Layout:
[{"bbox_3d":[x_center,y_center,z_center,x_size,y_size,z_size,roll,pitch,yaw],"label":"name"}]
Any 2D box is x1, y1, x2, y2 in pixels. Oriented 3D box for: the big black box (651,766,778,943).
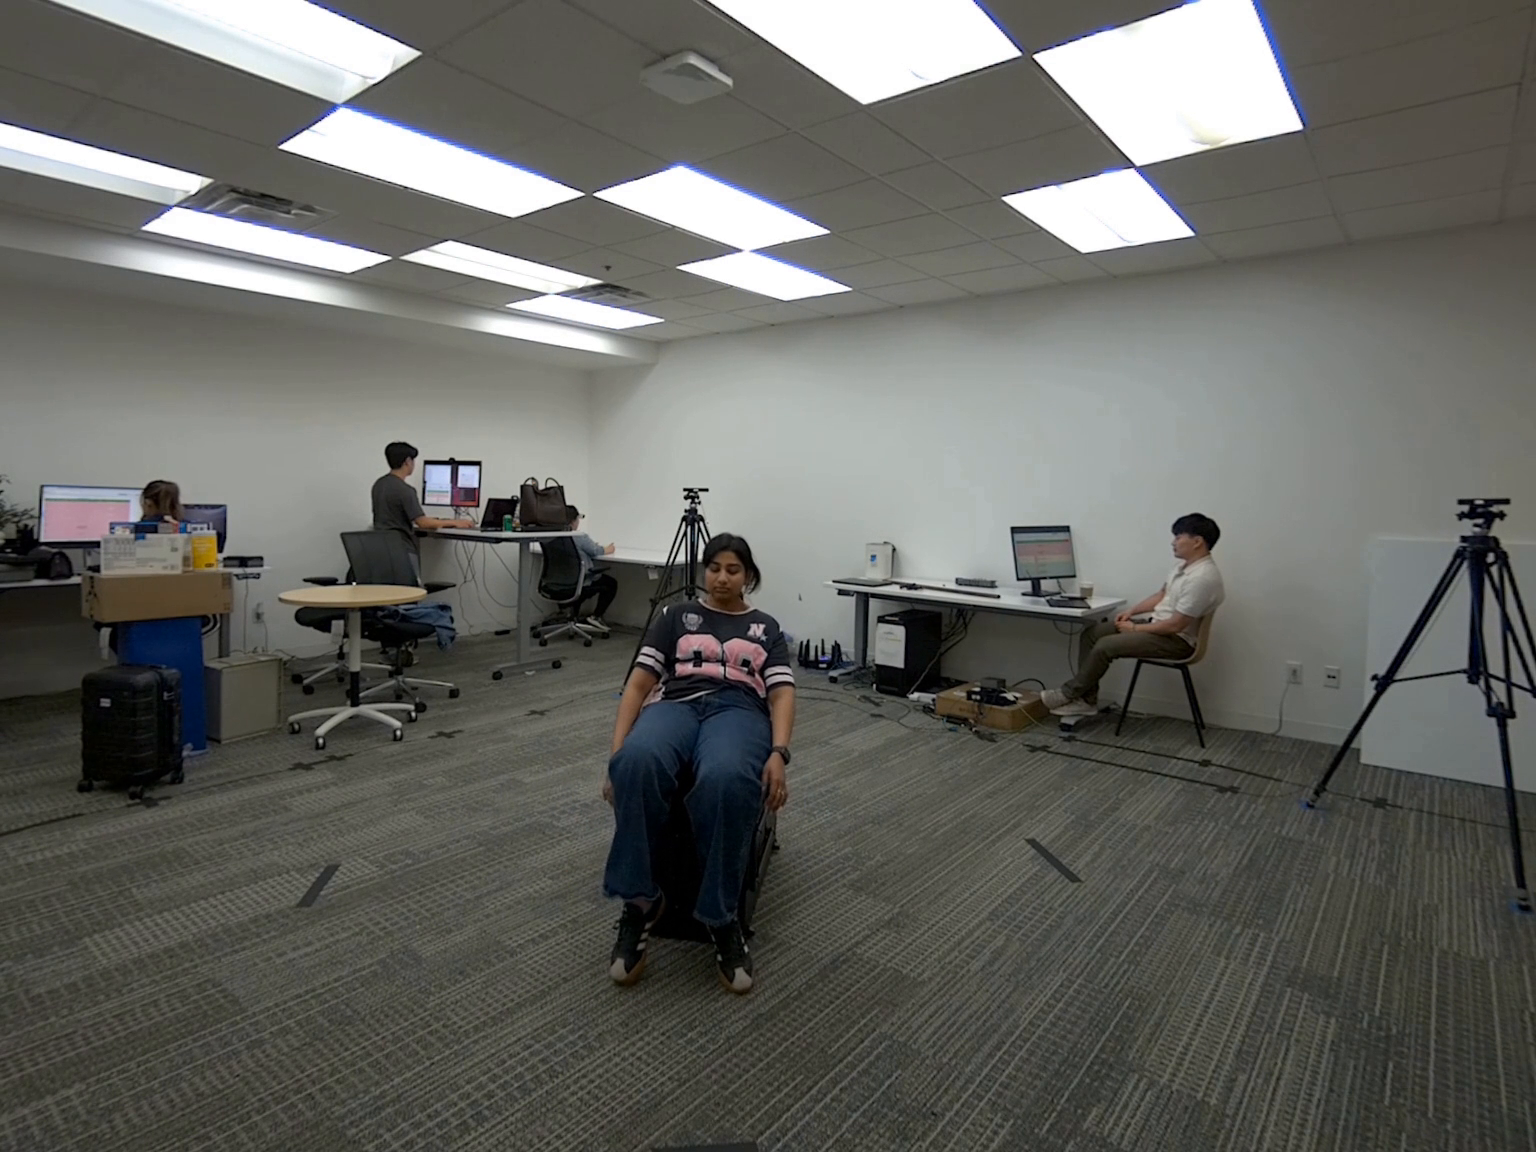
[{"bbox_3d":[-0.188,0.820,3.008,0.390,0.522,0.861,1,4,9],"label":"big black box"}]
